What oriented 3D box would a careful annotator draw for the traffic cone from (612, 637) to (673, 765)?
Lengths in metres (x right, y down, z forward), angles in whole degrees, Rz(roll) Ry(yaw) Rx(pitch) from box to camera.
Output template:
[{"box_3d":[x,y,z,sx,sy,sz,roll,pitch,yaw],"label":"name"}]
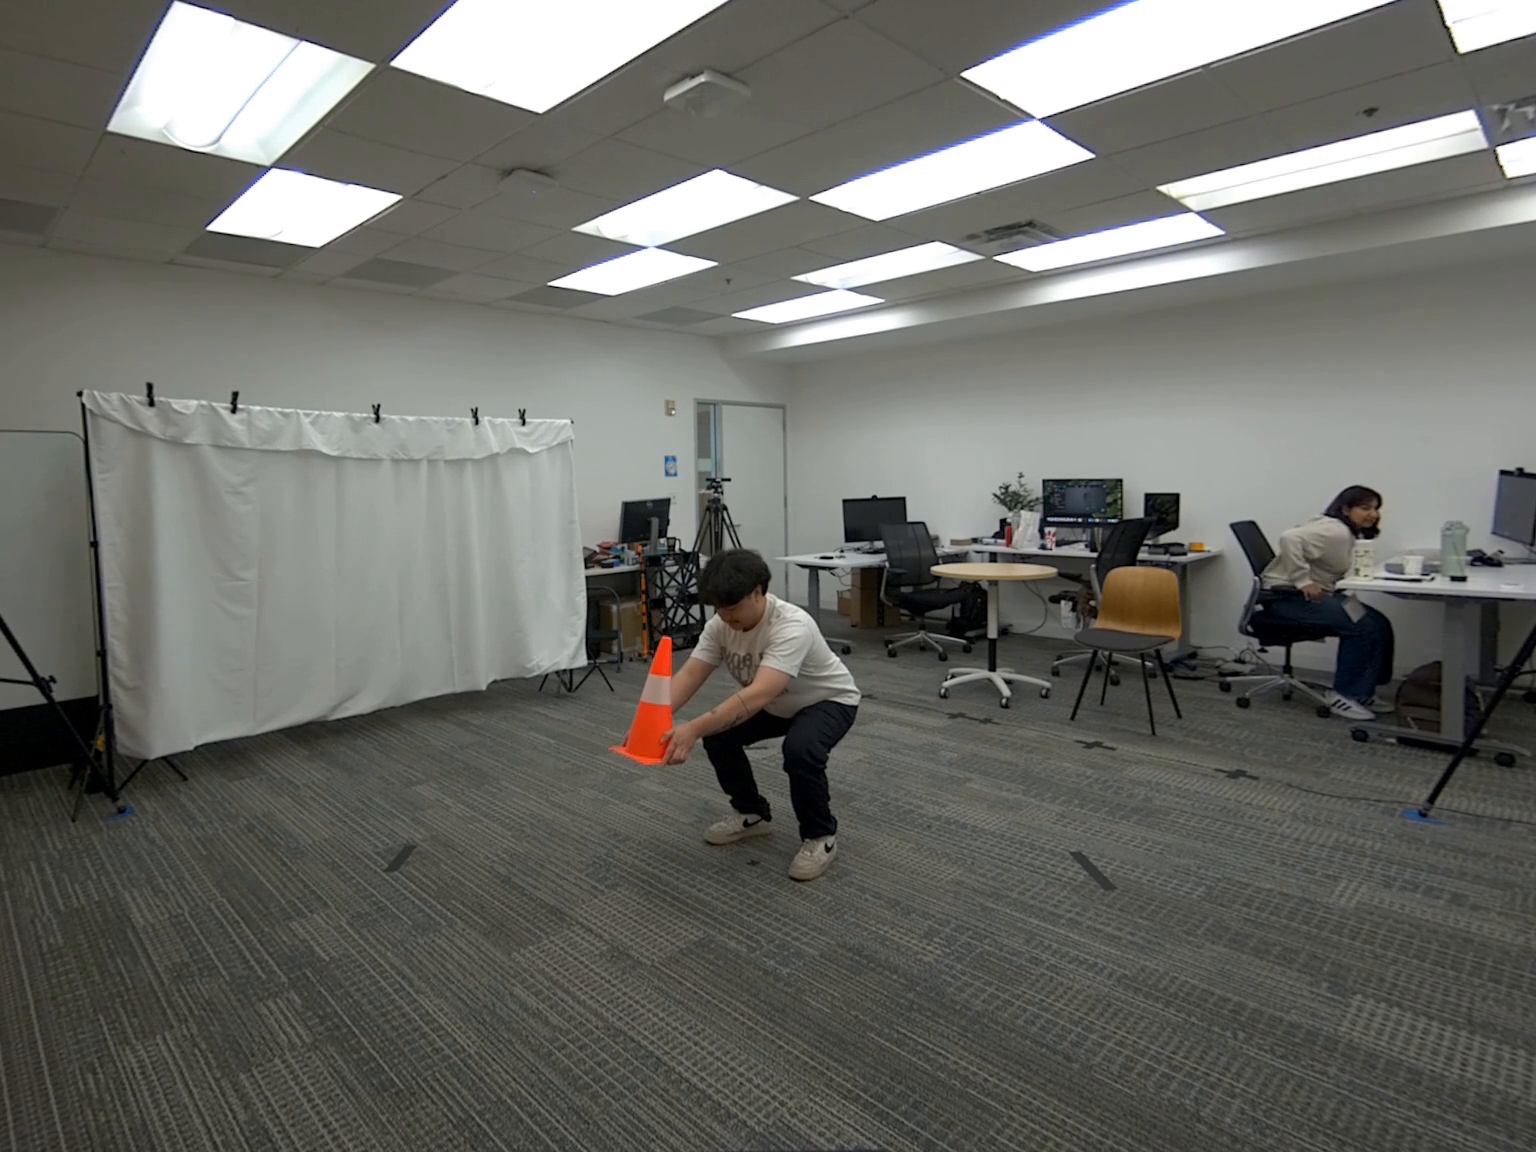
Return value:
[{"box_3d":[-0.356,0.389,2.772,0.211,0.384,0.197,7,-1,32],"label":"traffic cone"}]
